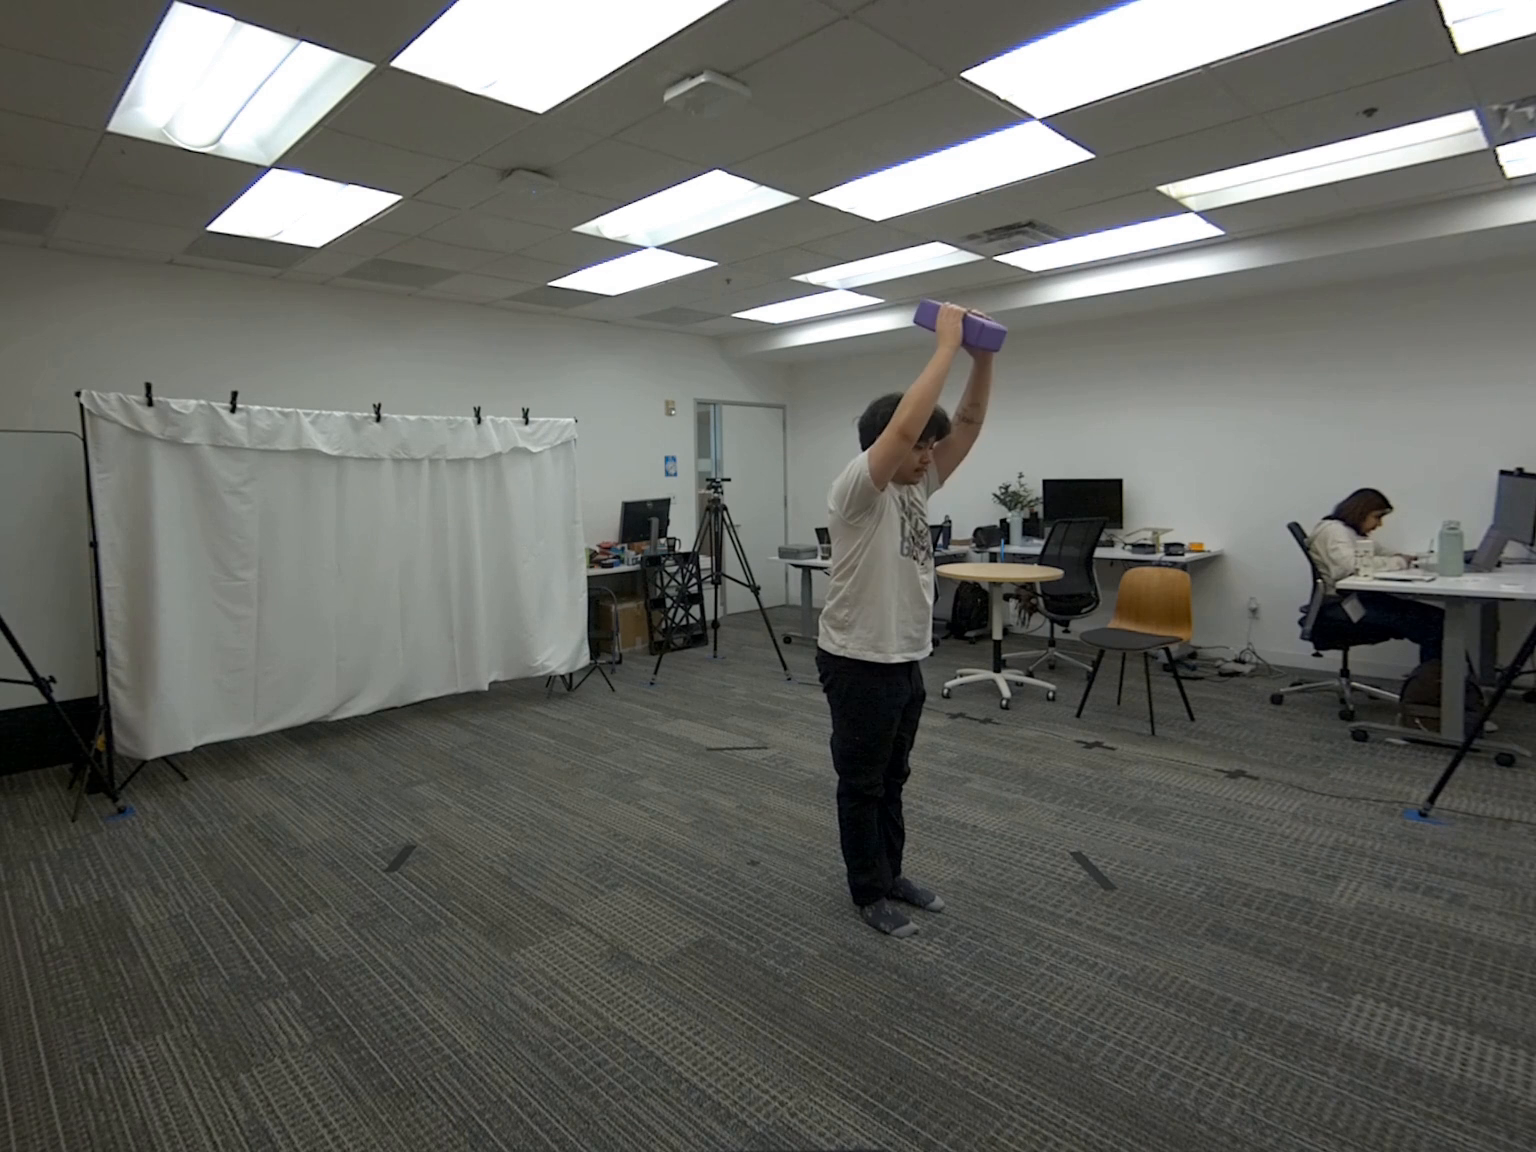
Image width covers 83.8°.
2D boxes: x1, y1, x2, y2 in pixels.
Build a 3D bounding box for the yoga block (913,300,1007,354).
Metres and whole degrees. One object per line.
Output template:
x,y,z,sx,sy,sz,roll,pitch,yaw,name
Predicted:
0.566,-0.705,2.461,0.145,0.075,0.238,-7,35,-46,yoga block
